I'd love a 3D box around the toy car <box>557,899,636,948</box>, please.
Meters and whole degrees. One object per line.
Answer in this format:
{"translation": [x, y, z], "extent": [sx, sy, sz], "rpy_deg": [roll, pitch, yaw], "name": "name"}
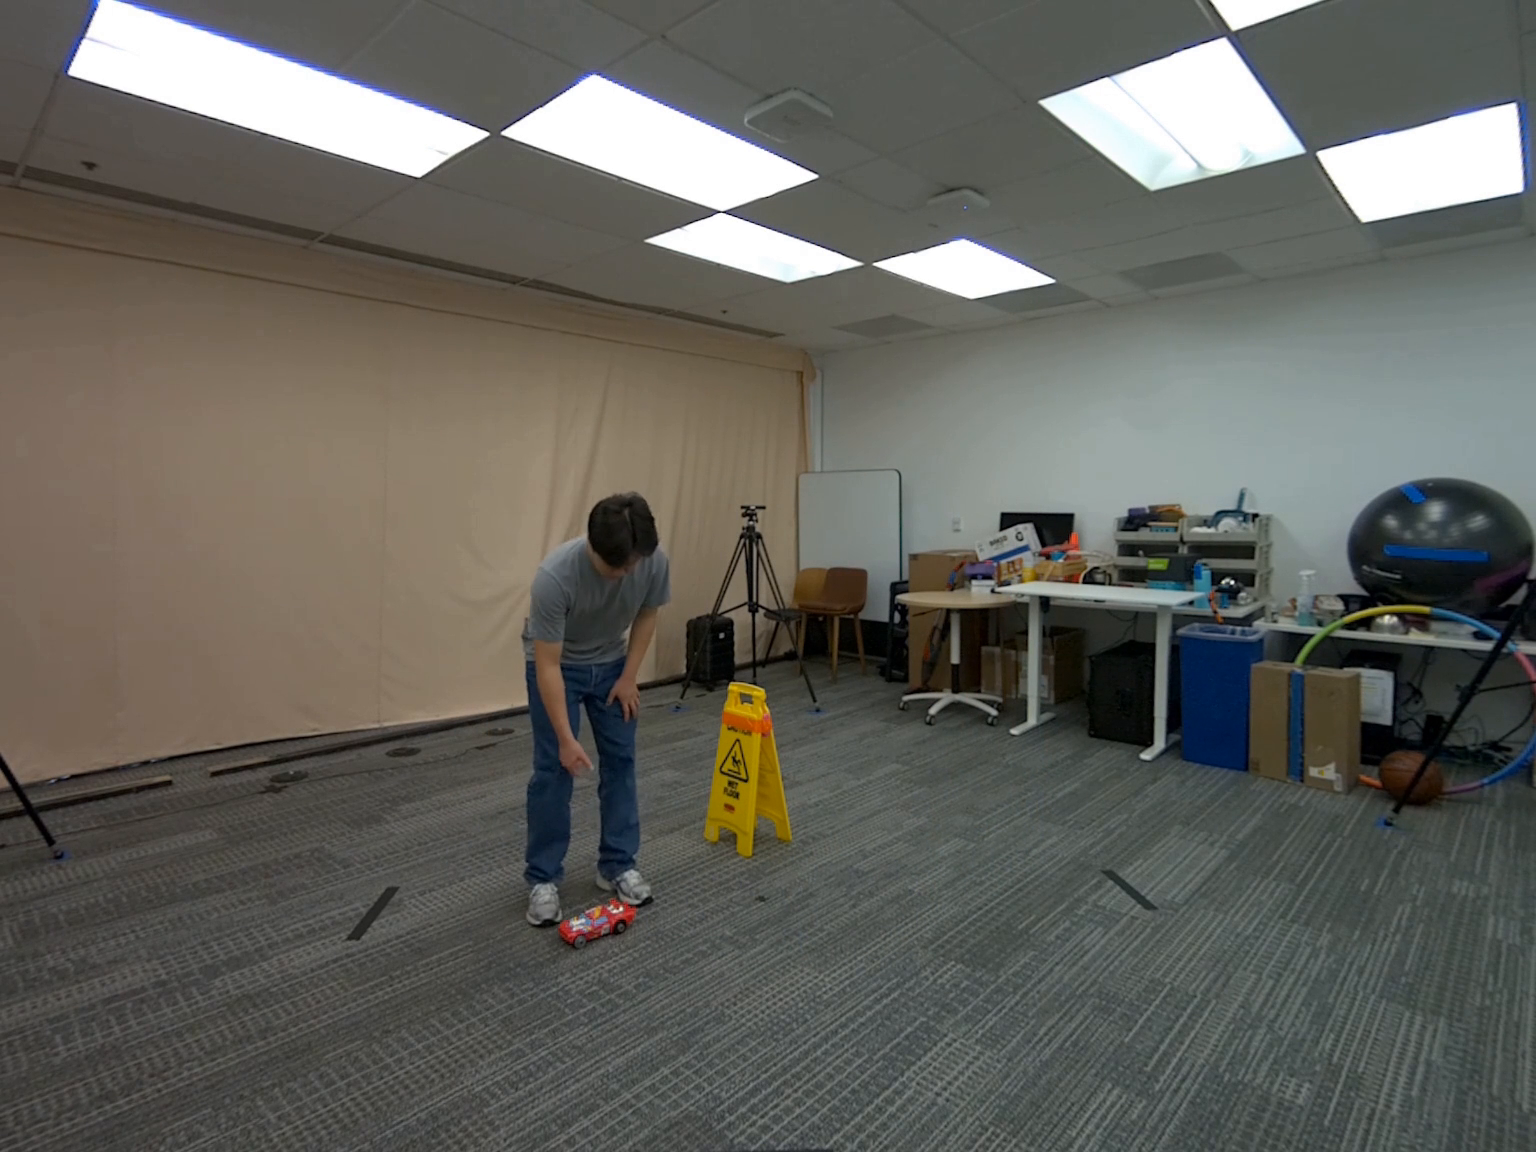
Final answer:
{"translation": [-0.552, 1.133, 2.751], "extent": [0.248, 0.082, 0.134], "rpy_deg": [-18, 13, -36], "name": "toy car"}
